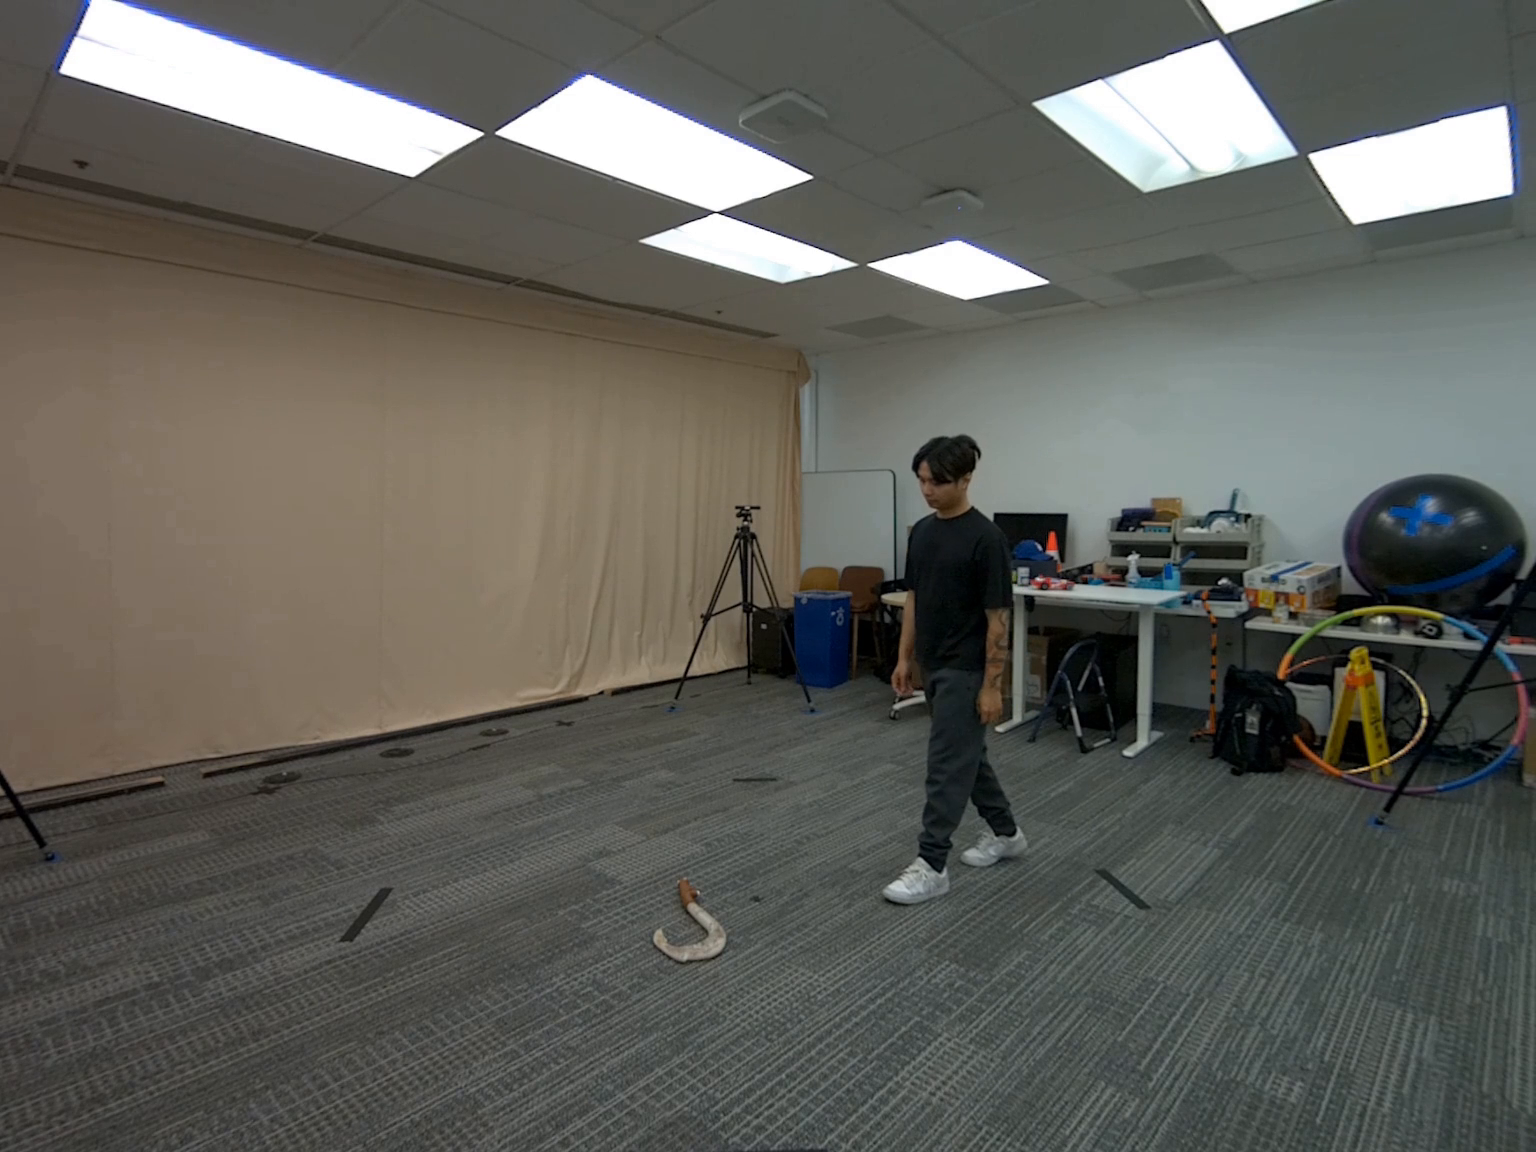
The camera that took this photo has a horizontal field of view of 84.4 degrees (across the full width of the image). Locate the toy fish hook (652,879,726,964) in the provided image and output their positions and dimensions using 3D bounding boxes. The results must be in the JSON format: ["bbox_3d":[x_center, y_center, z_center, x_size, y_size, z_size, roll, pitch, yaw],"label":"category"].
[{"bbox_3d":[-0.288,1.135,2.809,0.221,0.048,0.516,0,4,-16],"label":"toy fish hook"}]
